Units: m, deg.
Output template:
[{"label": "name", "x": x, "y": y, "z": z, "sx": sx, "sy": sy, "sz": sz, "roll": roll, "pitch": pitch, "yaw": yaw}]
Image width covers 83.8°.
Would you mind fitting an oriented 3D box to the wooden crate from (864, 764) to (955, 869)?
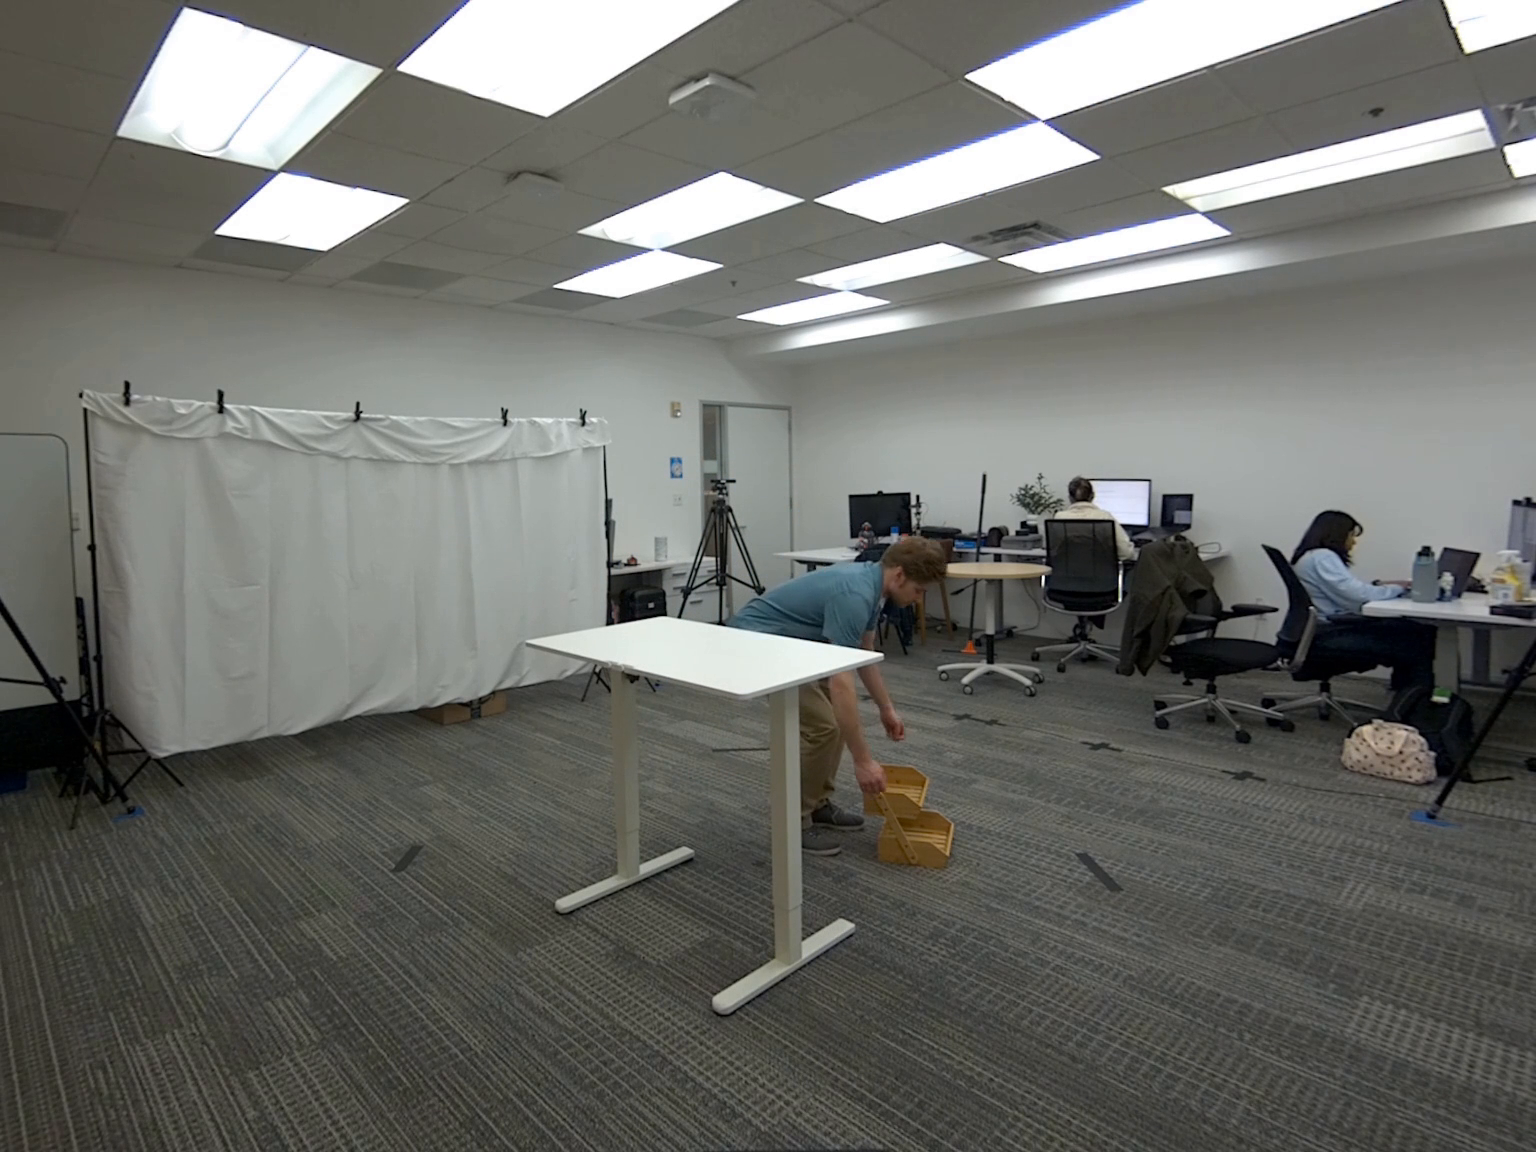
[{"label": "wooden crate", "x": 0.537, "y": 0.890, "z": 3.222, "sx": 0.307, "sy": 0.272, "sz": 0.320, "roll": -1, "pitch": 4, "yaw": 17}]
